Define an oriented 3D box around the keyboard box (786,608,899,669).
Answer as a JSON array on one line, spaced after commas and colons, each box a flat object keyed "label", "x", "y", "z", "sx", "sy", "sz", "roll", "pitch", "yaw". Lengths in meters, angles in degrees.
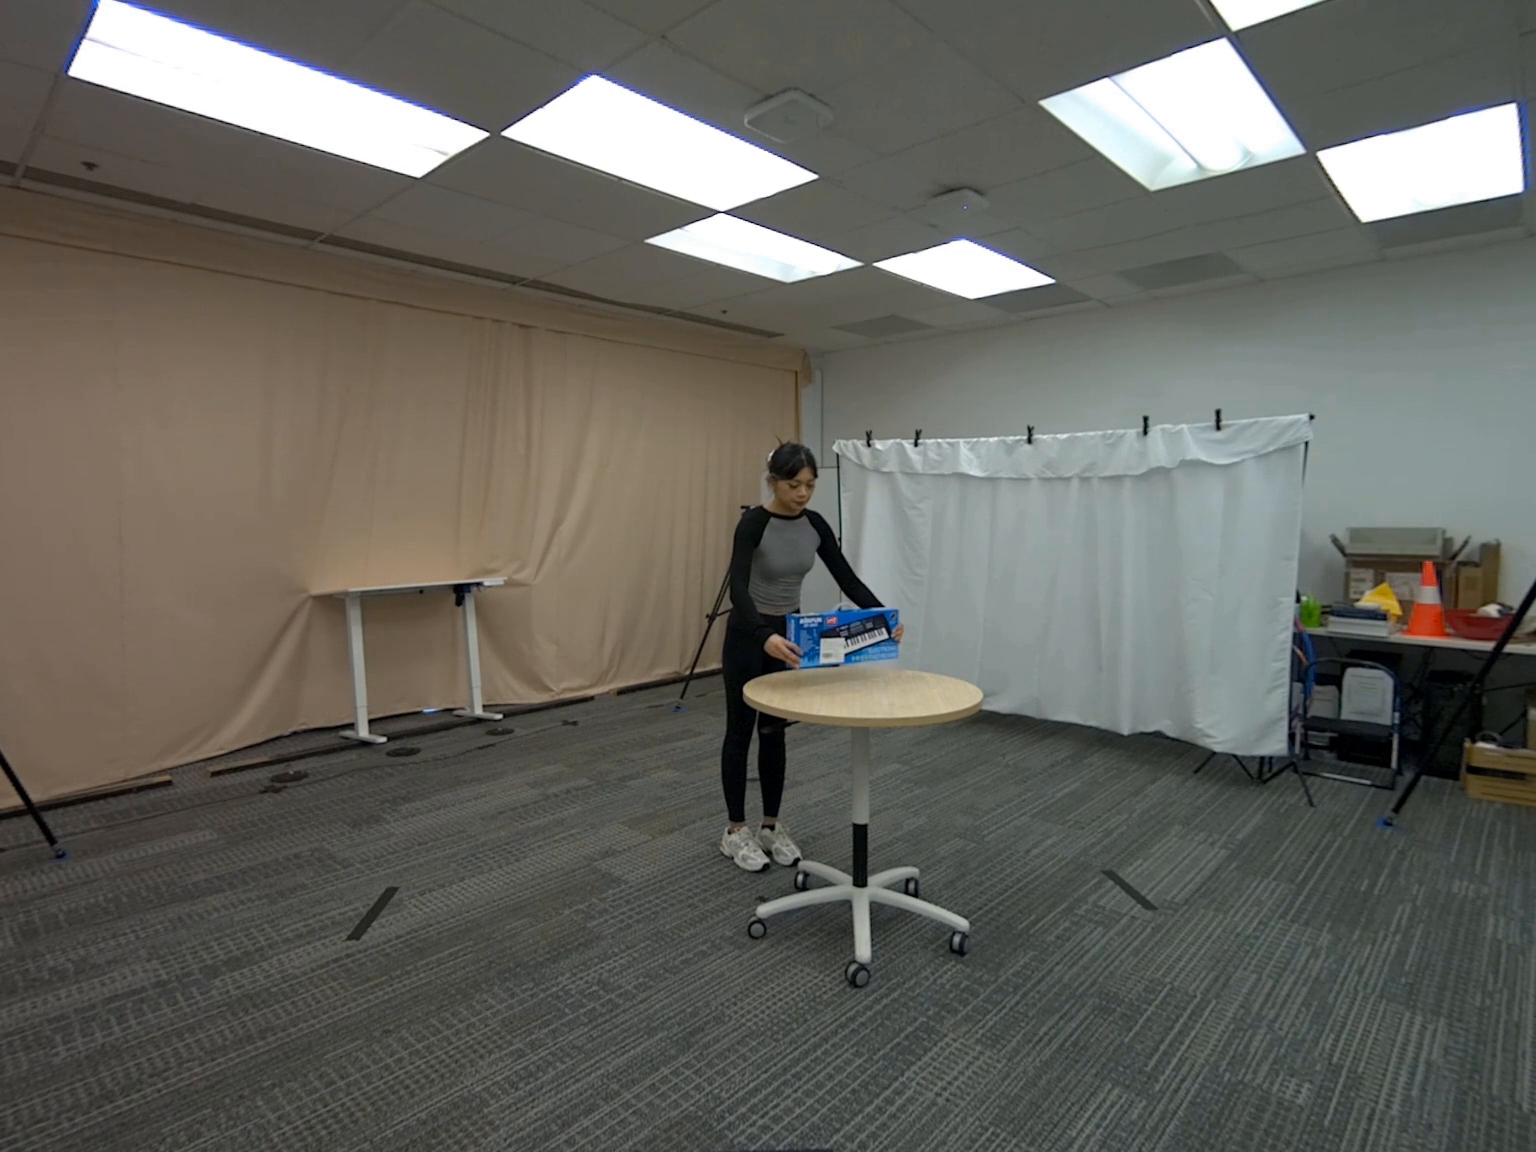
[{"label": "keyboard box", "x": 0.254, "y": 0.207, "z": 2.836, "sx": 0.425, "sy": 0.176, "sz": 0.061, "roll": -2, "pitch": 2, "yaw": -32}]
